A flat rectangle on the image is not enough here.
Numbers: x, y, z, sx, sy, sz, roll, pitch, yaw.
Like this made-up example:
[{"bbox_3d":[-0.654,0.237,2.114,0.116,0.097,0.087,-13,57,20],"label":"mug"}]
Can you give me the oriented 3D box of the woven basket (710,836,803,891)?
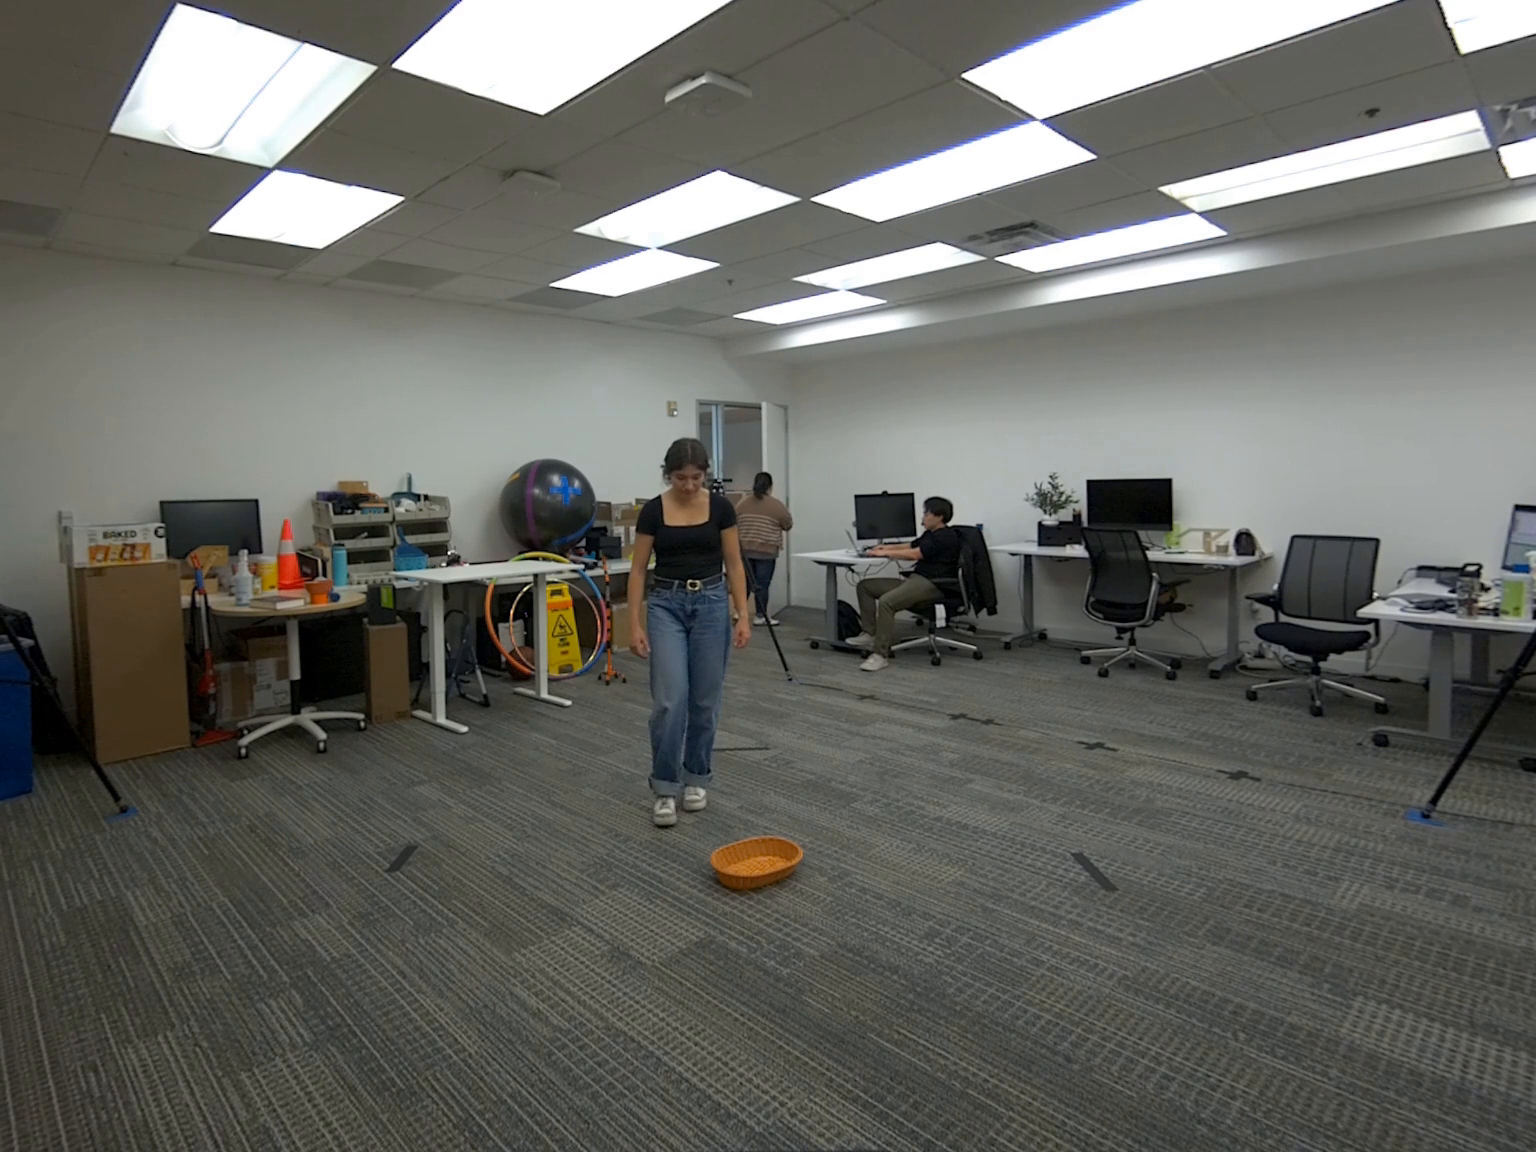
[{"bbox_3d":[-0.040,1.015,3.017,0.342,0.073,0.260,-5,9,-33],"label":"woven basket"}]
